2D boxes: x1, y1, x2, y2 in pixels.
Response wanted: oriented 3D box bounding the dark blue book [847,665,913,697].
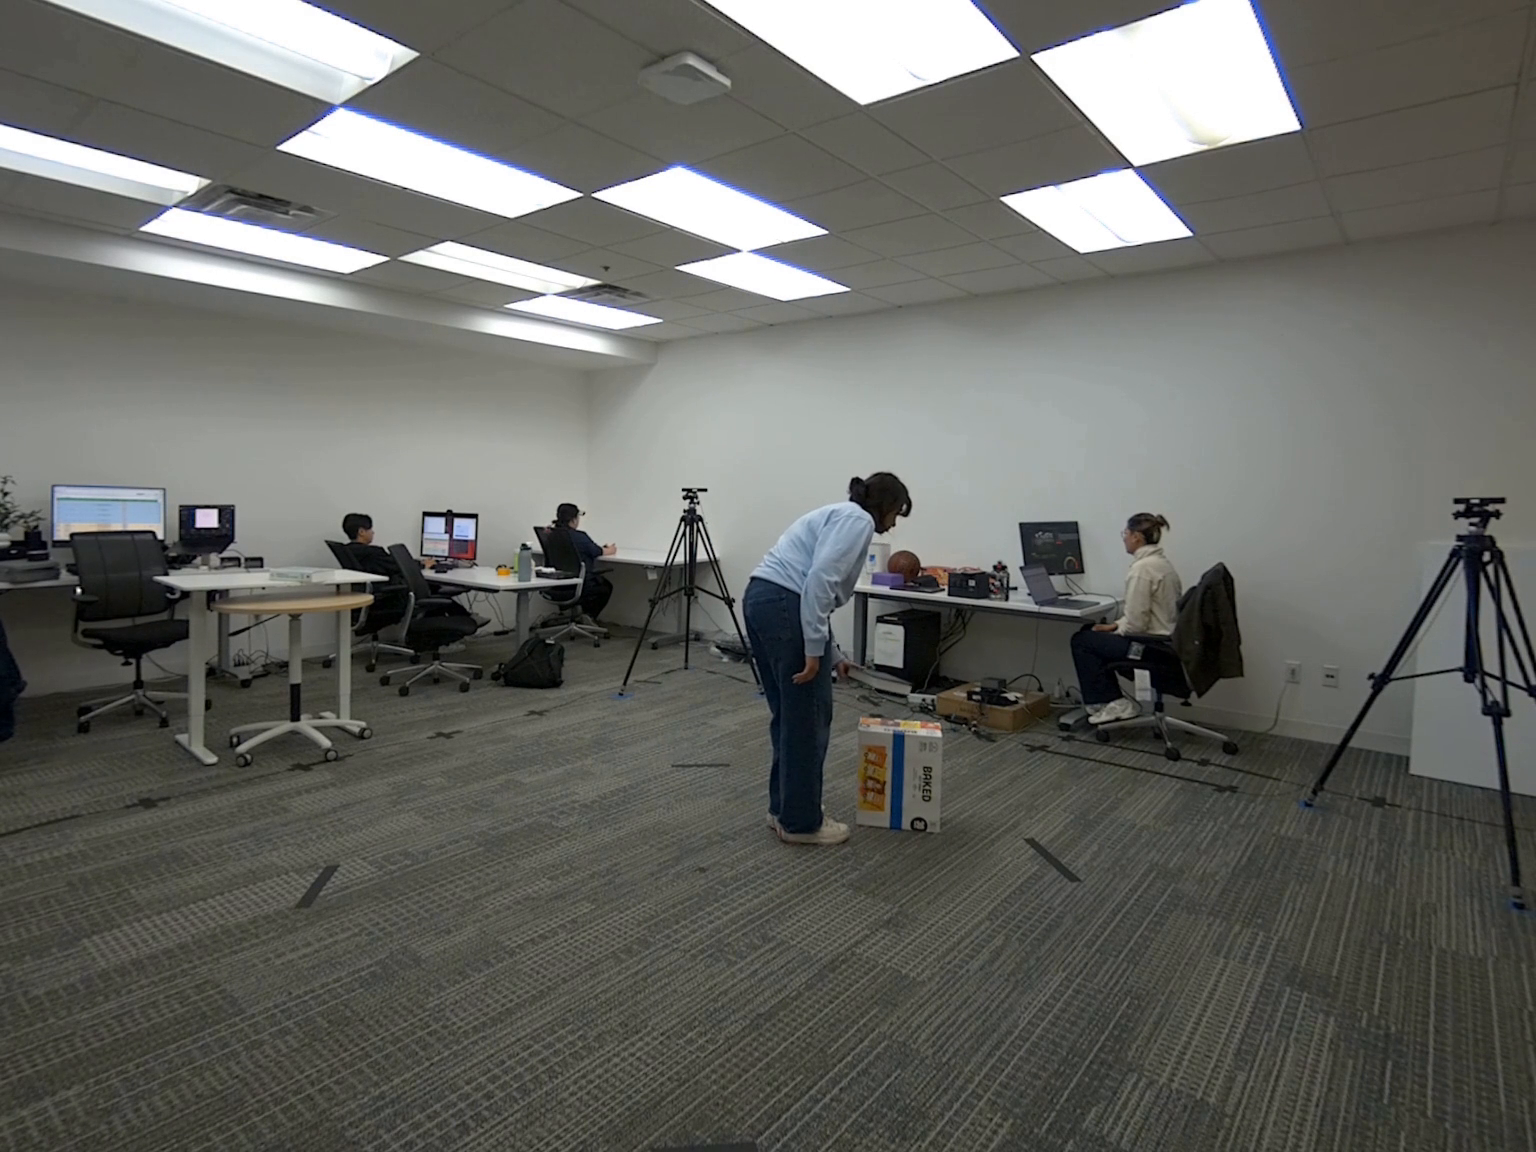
[{"bbox_3d":[0.467,0.430,3.584,0.236,0.045,0.170,15,1,-40],"label":"dark blue book"}]
